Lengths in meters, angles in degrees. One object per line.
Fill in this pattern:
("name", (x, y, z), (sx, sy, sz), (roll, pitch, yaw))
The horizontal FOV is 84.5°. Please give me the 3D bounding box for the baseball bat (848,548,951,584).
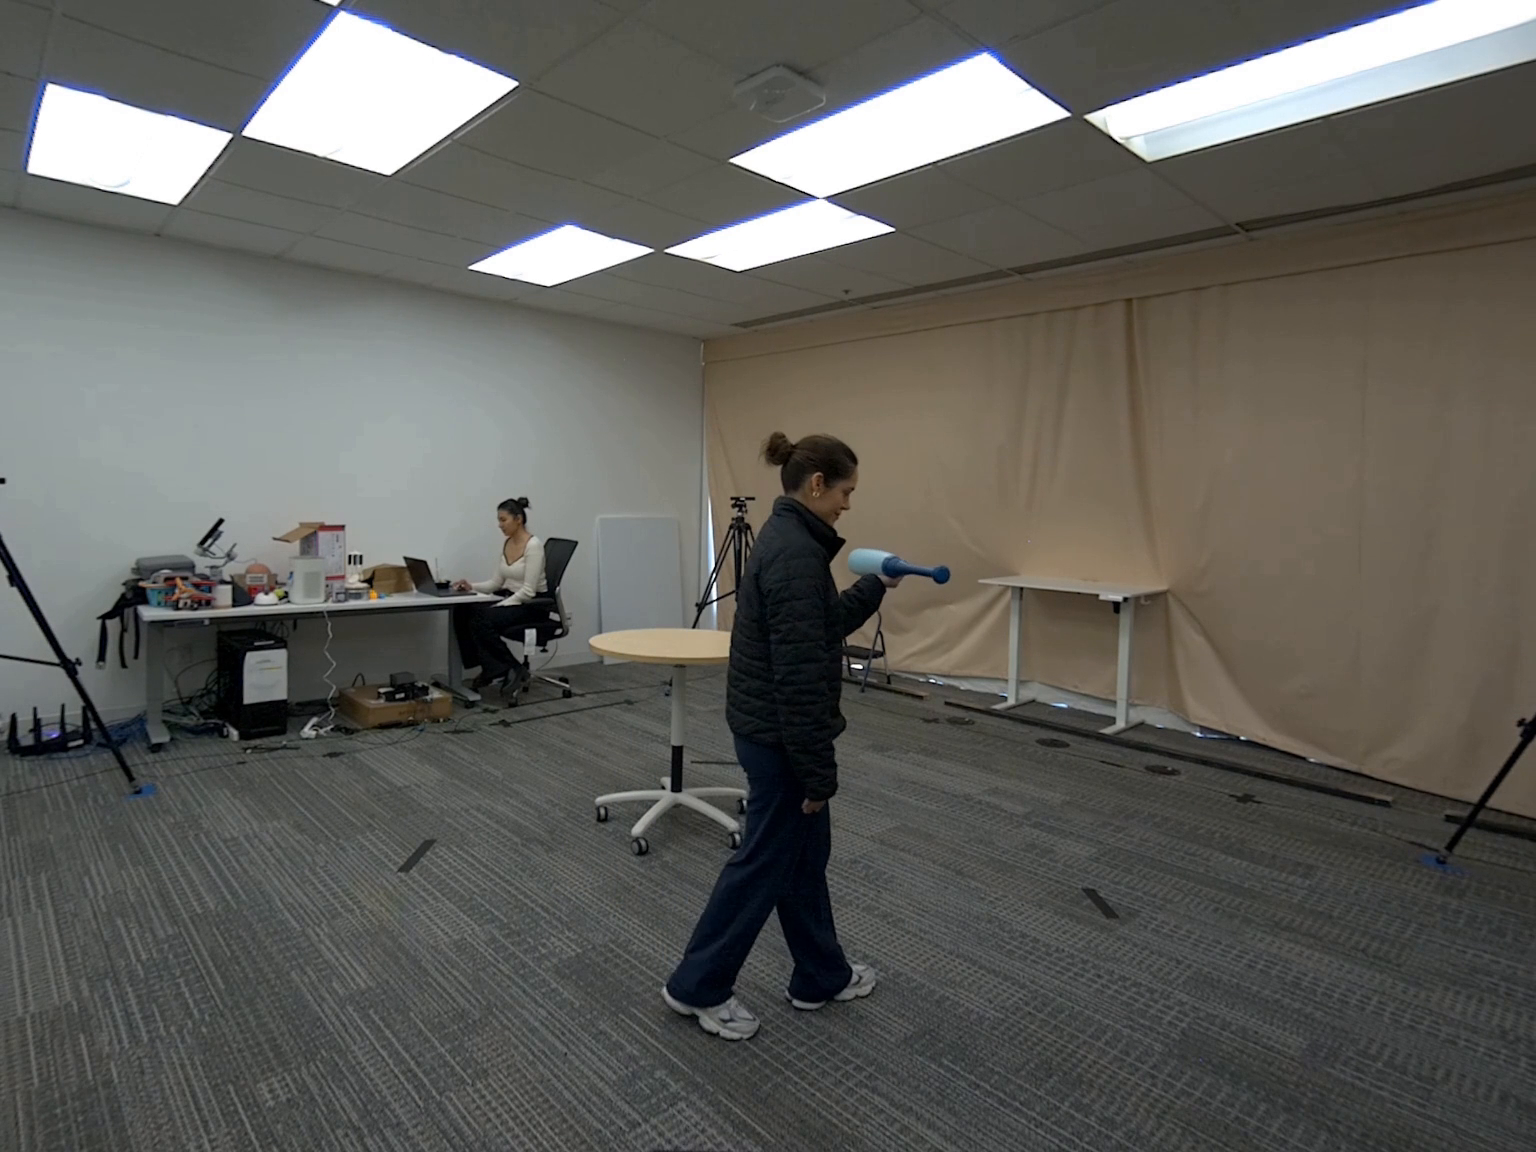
("baseball bat", (0.372, -0.018, 2.438), (0.088, 0.089, 0.552), (0, 6, -17))
